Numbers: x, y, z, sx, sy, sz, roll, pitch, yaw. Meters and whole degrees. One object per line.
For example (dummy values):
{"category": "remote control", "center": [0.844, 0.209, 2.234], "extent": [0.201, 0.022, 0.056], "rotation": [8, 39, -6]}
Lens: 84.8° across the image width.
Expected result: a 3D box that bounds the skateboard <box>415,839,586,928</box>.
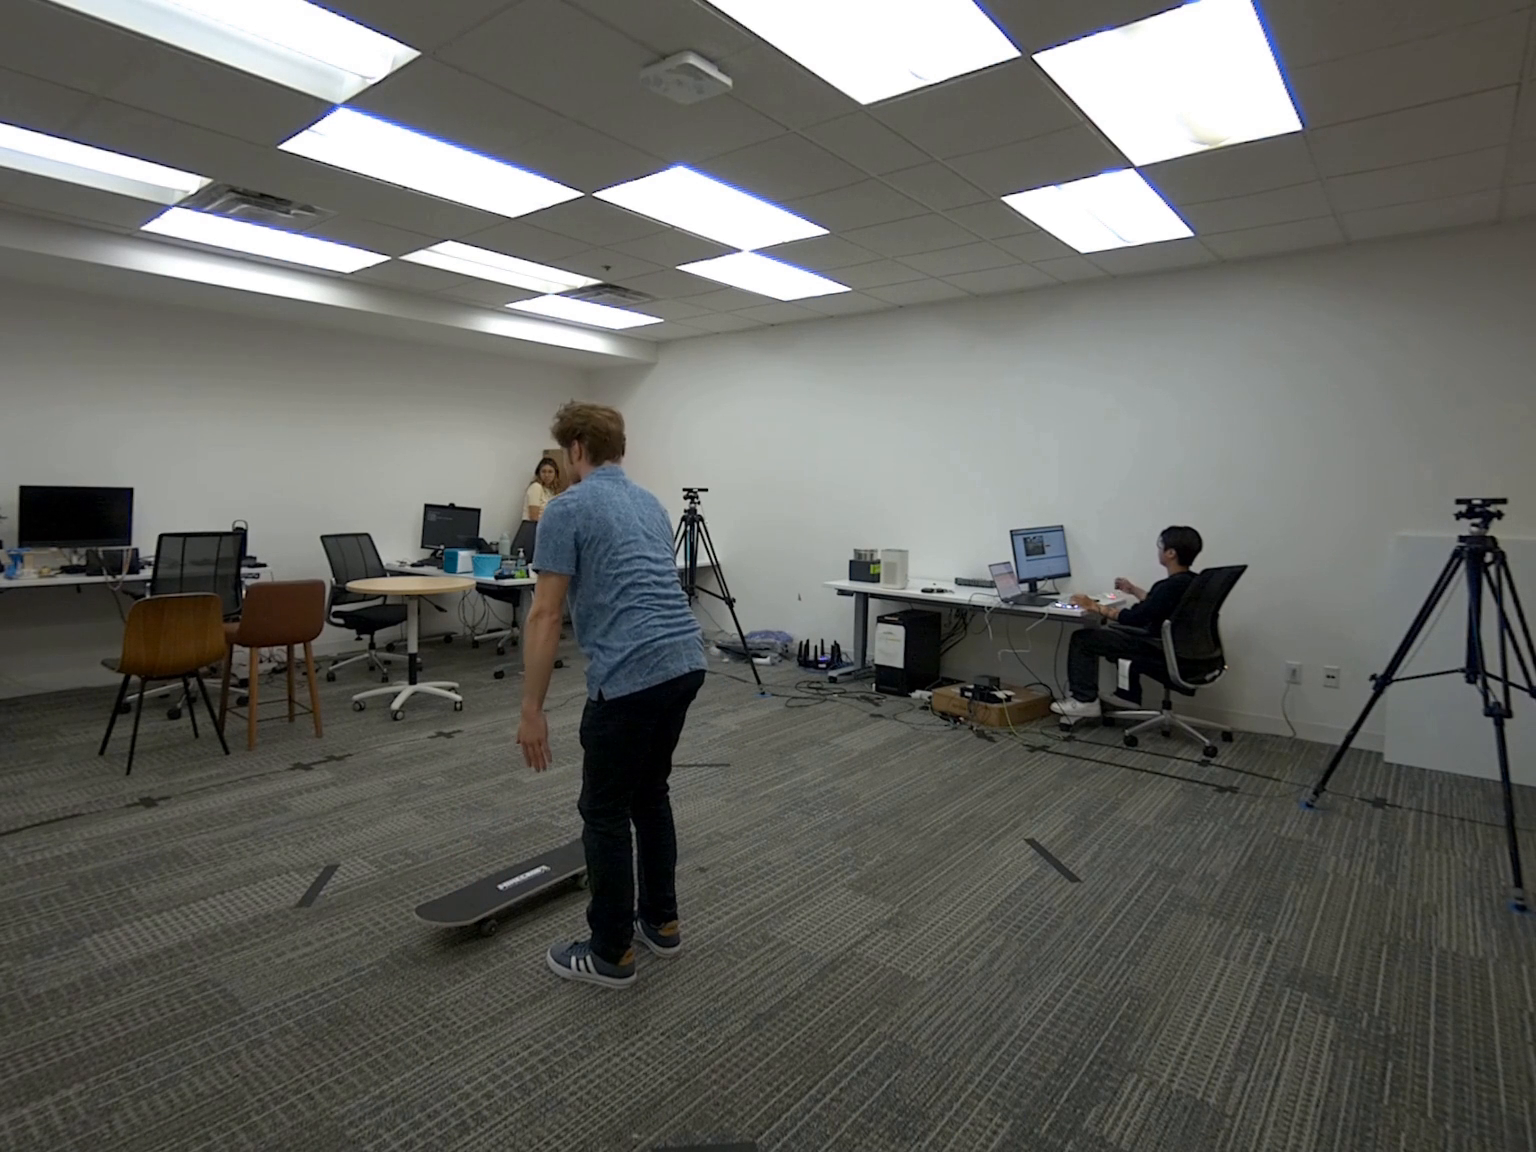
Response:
{"category": "skateboard", "center": [-0.817, 1.032, 2.829], "extent": [0.200, 0.110, 0.763], "rotation": [4, 7, 35]}
